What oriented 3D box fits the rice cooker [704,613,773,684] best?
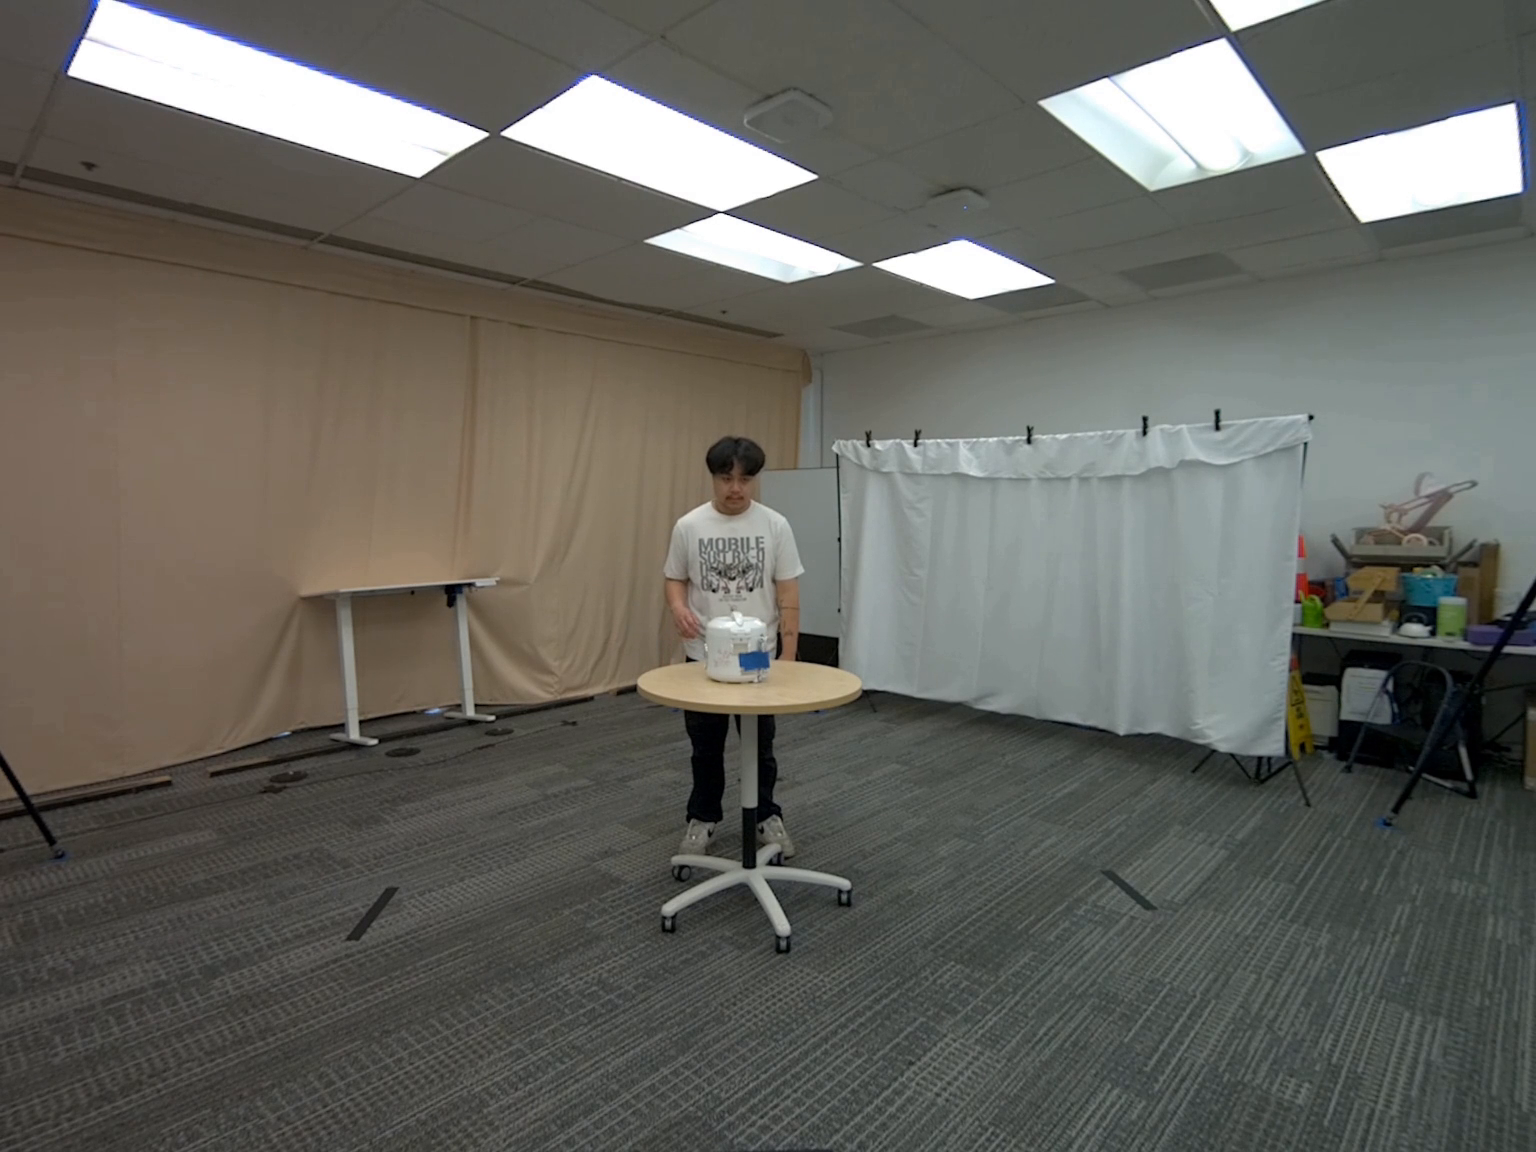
[{"bbox_3d":[-0.109,0.235,2.893,0.216,0.232,0.223,0,3,-8],"label":"rice cooker"}]
